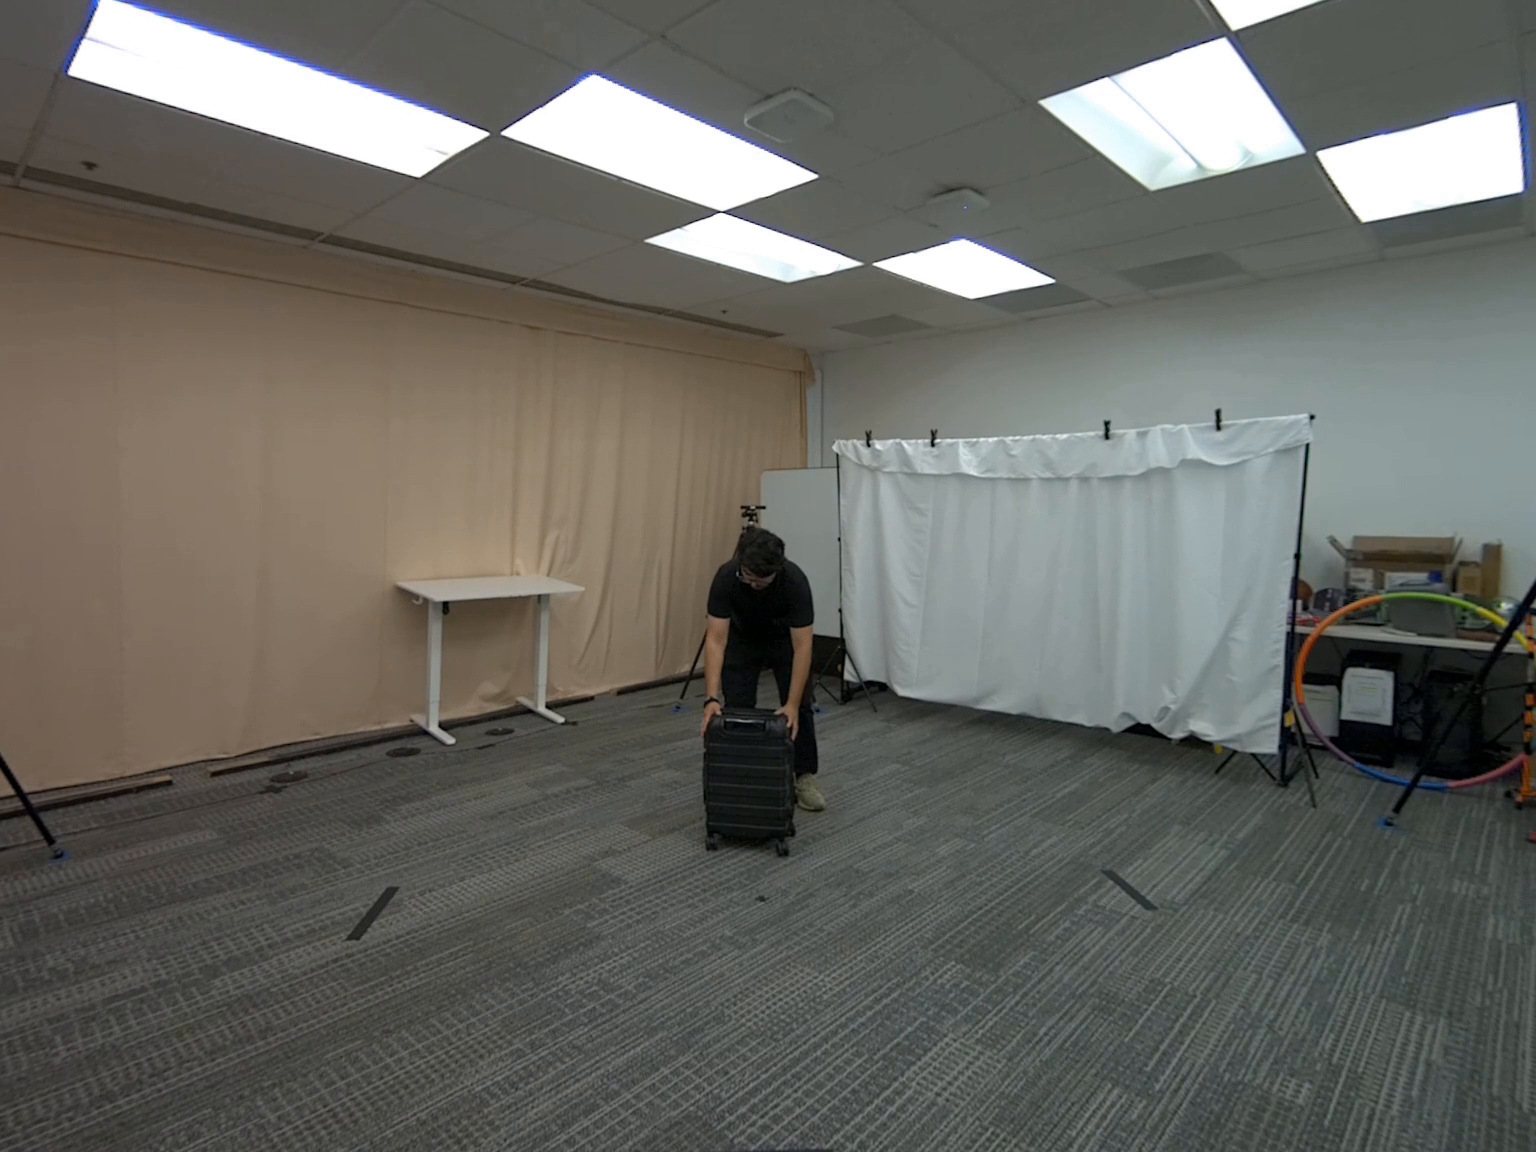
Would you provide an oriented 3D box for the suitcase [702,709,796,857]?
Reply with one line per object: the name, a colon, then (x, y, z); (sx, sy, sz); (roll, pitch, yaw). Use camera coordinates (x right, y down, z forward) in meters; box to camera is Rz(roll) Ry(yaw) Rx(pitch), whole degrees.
suitcase: (-0.074, 0.827, 3.492); (0.381, 0.549, 0.245); (-1, 0, 12)
